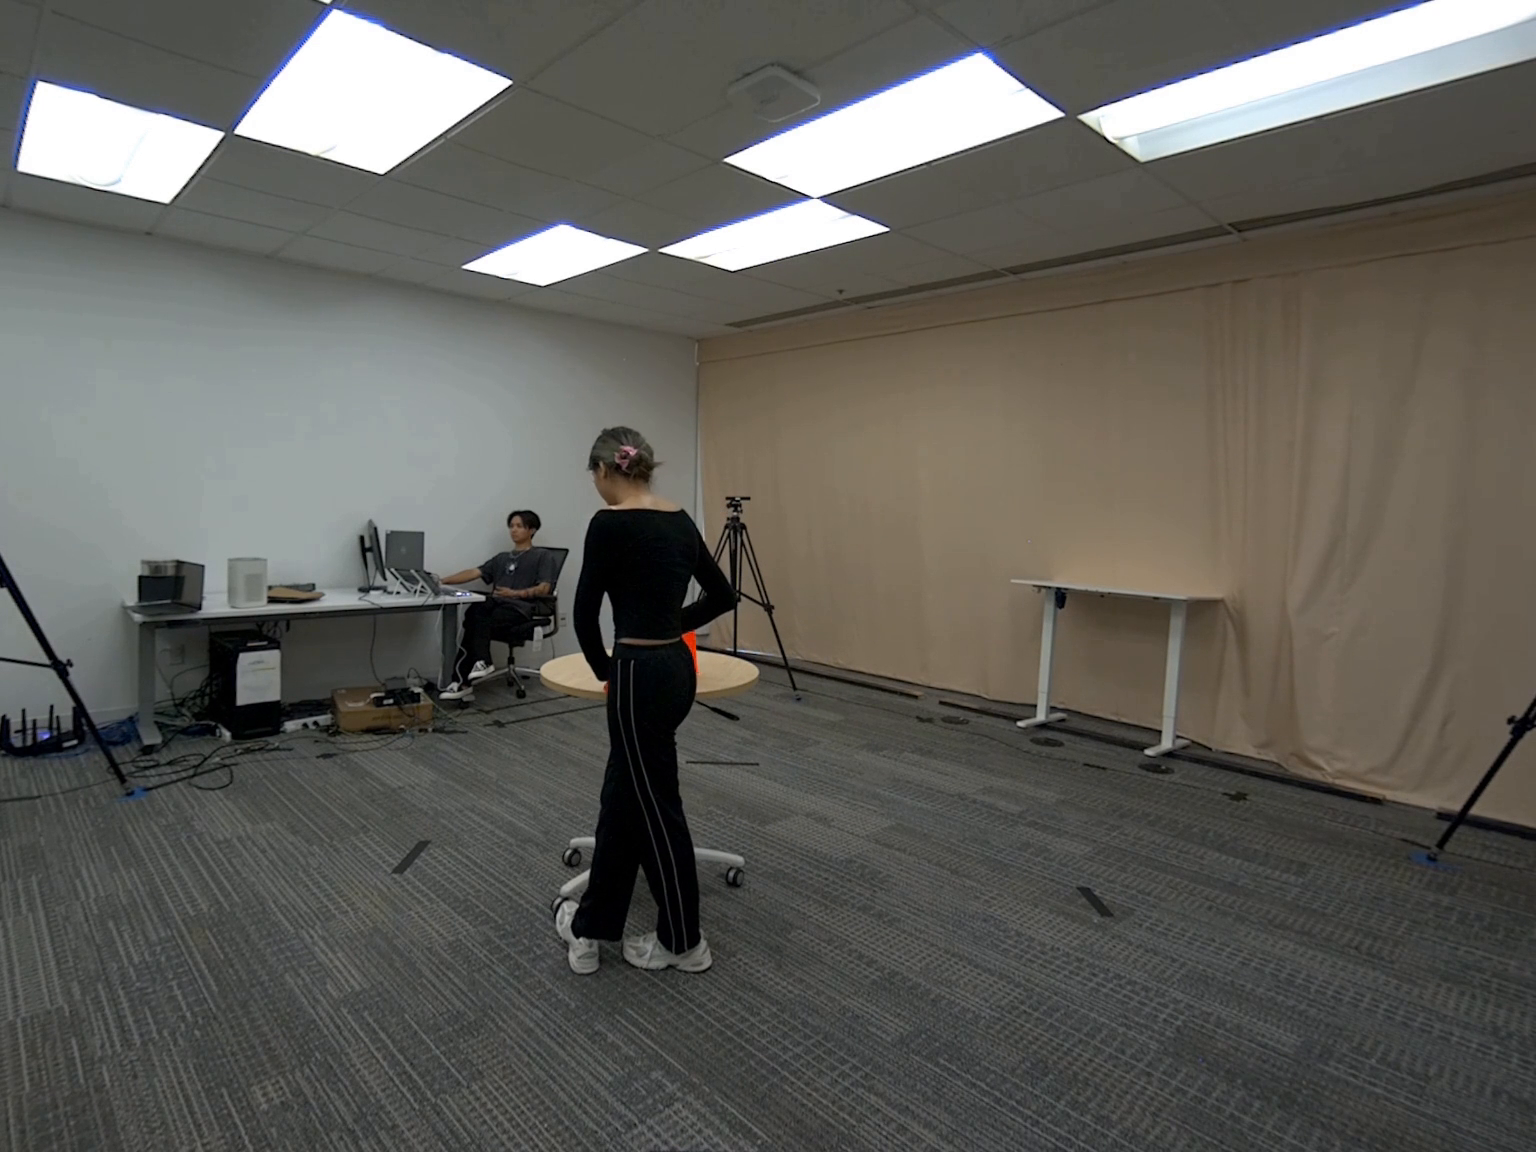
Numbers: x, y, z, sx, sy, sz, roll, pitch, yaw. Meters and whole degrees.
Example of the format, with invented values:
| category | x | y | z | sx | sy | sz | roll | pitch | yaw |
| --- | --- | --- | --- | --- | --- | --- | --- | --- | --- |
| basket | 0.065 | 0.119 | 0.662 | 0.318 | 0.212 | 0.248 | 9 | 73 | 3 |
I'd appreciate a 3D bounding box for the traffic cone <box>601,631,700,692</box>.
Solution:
| category | x | y | z | sx | sy | sz | roll | pitch | yaw |
| --- | --- | --- | --- | --- | --- | --- | --- | --- | --- |
| traffic cone | -0.425 | 0.295 | 2.738 | 0.207 | 0.203 | 0.380 | 1 | 15 | 27 |
